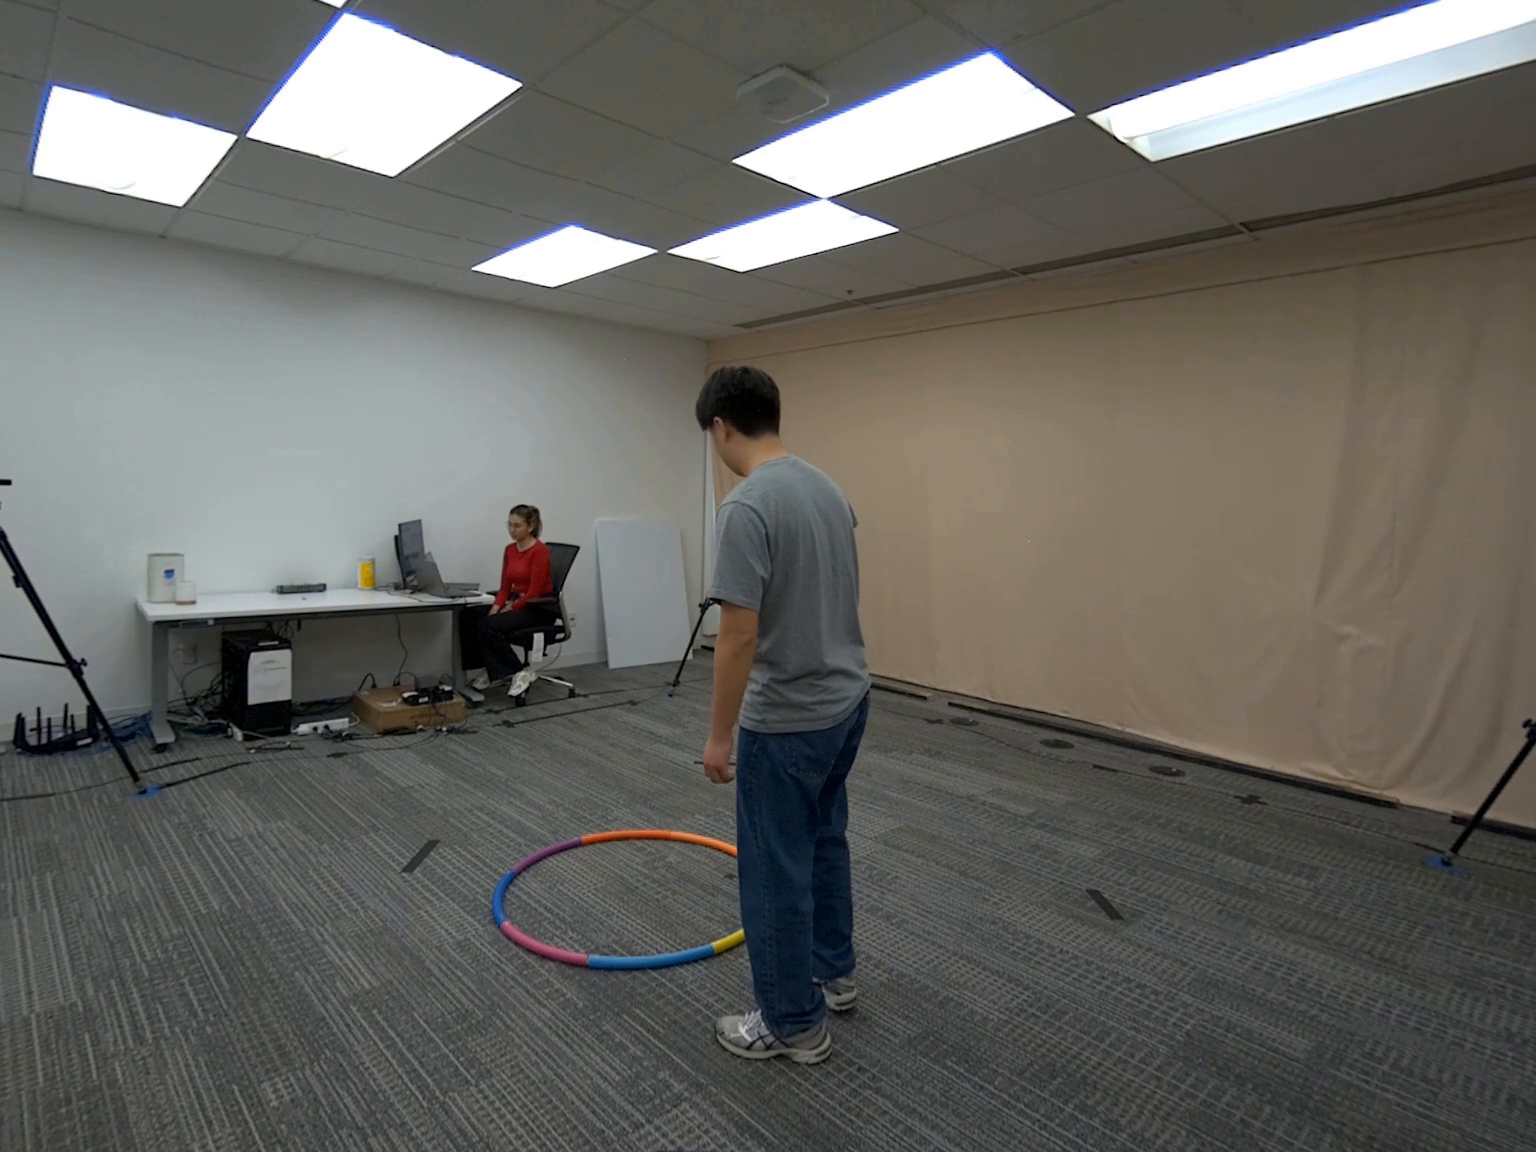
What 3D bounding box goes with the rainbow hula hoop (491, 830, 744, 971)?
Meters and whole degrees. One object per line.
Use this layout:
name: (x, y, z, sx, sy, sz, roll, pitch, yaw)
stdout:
rainbow hula hoop: (-0.464, 1.083, 2.959, 0.978, 0.035, 0.982, 1, 5, -1)
